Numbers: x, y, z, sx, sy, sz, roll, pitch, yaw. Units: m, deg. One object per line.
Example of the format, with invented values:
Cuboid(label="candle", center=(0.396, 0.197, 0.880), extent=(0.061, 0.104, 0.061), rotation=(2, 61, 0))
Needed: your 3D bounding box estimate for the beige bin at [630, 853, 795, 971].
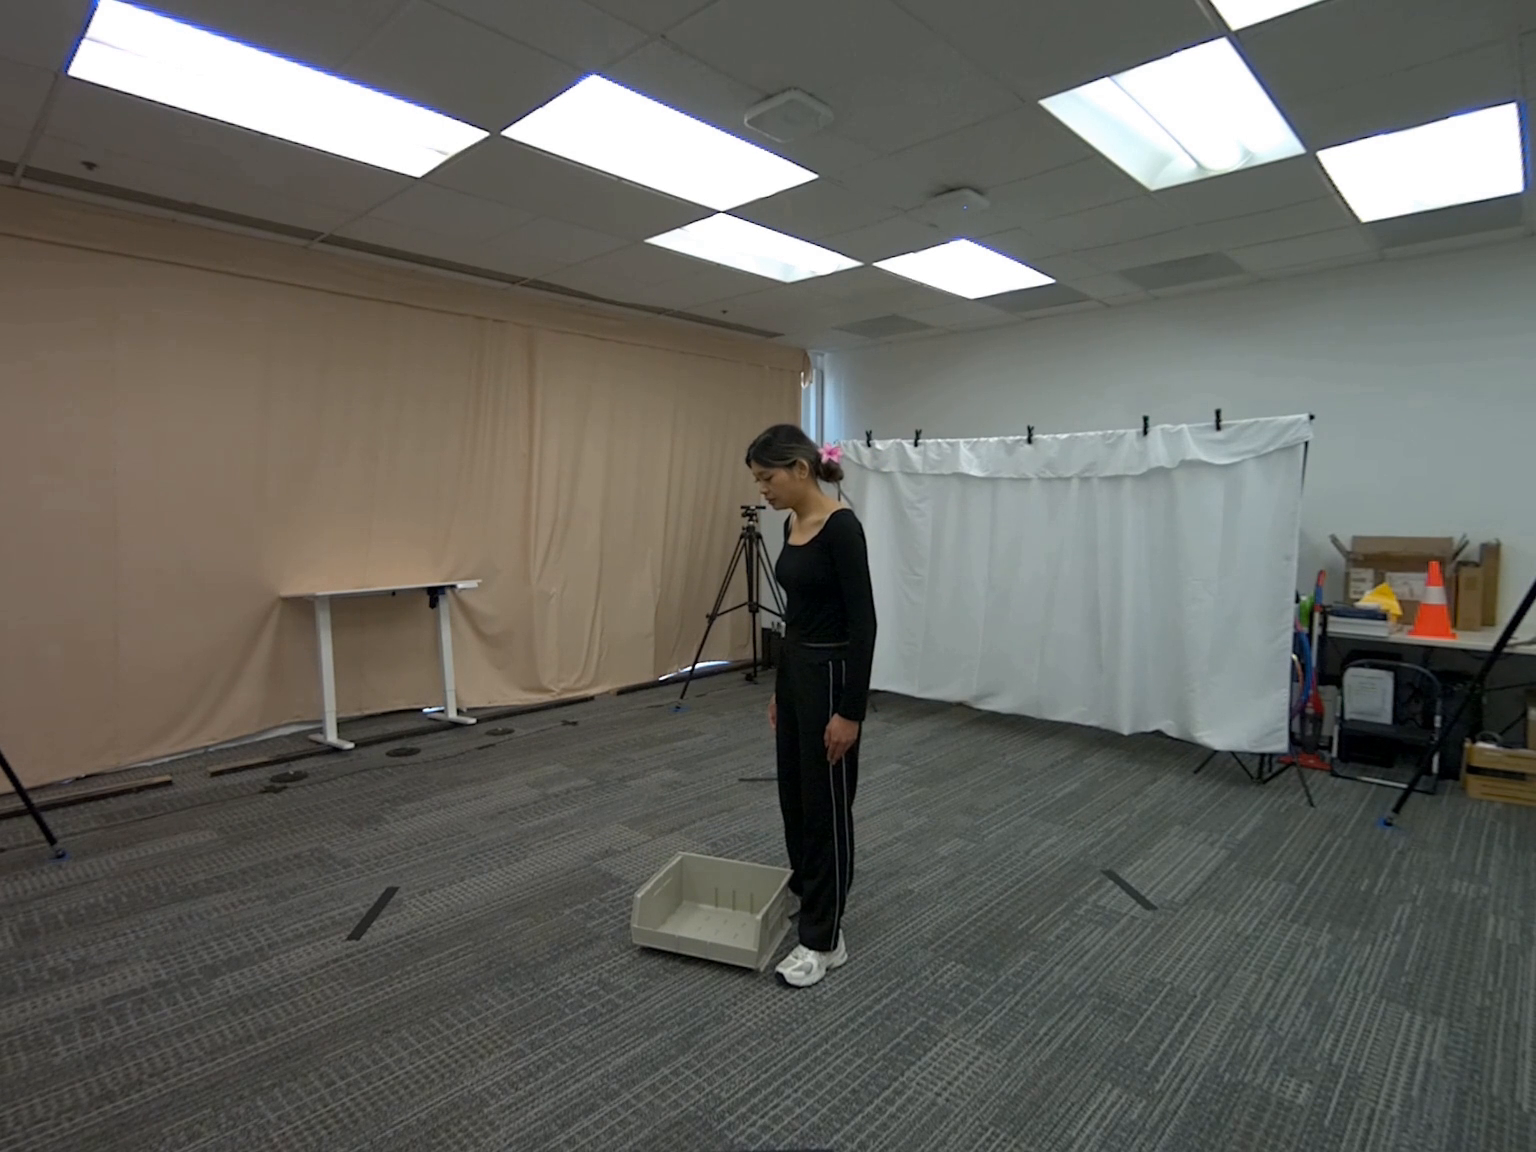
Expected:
Cuboid(label="beige bin", center=(-0.171, 1.082, 2.710), extent=(0.432, 0.188, 0.370), rotation=(2, 4, 20))
